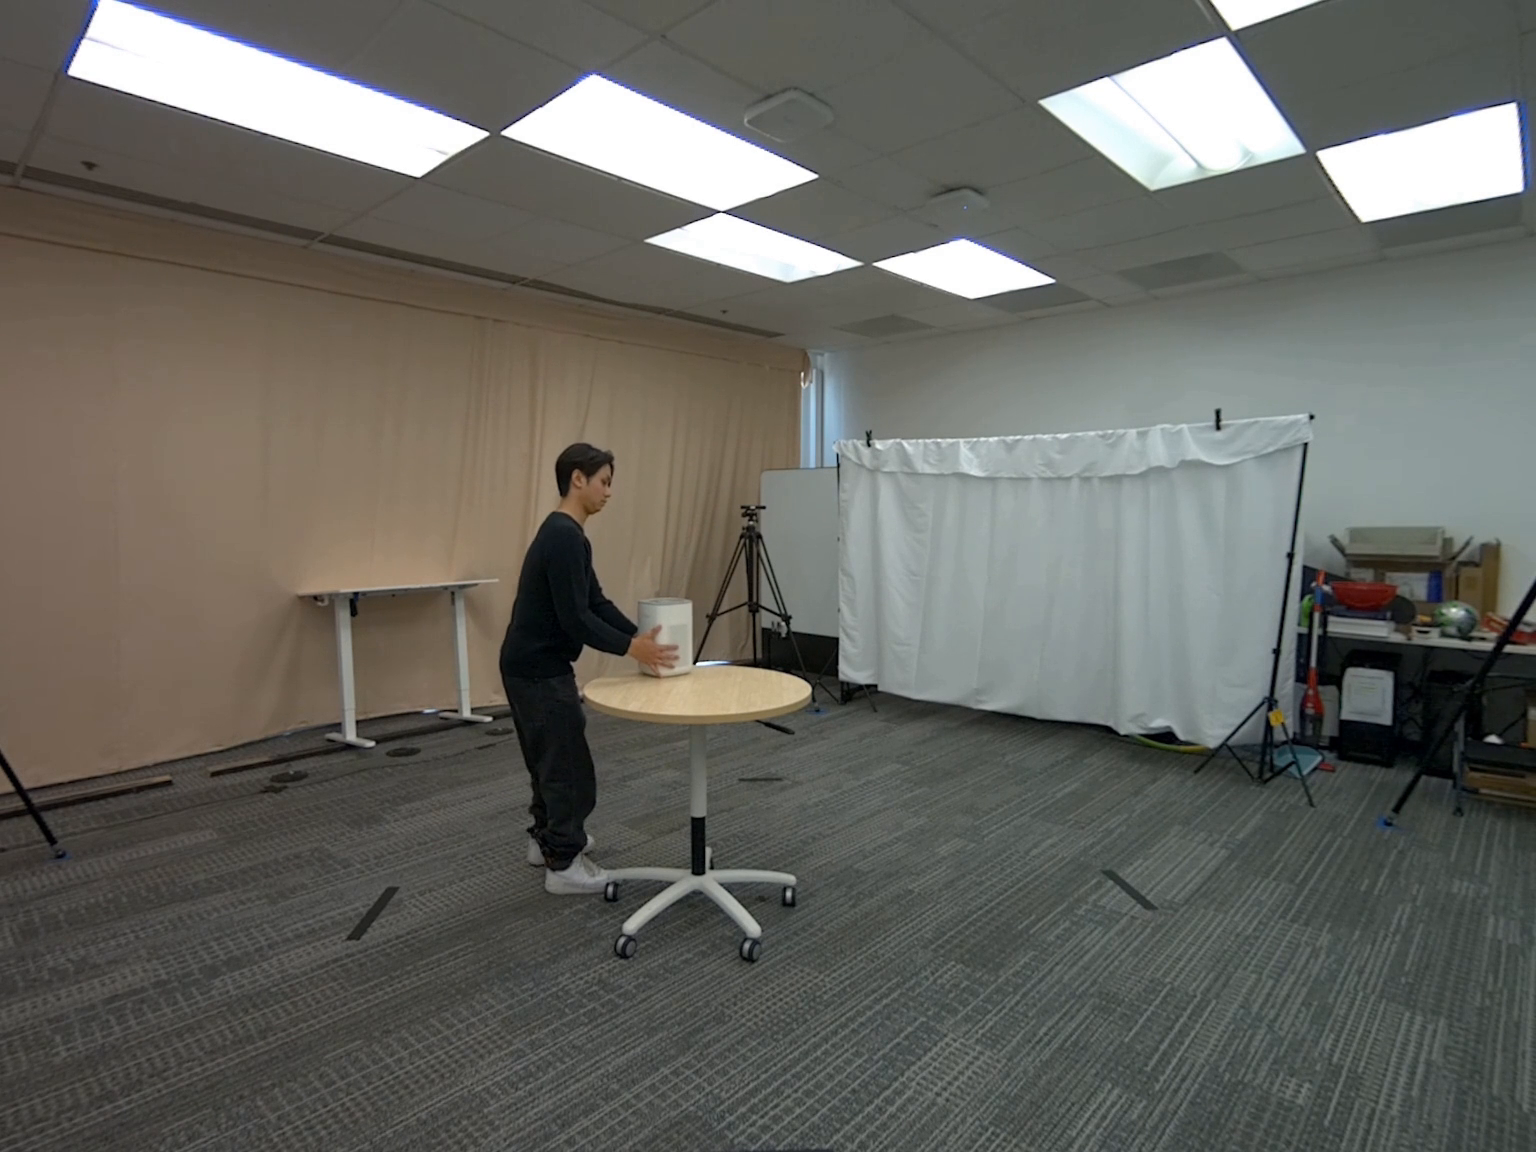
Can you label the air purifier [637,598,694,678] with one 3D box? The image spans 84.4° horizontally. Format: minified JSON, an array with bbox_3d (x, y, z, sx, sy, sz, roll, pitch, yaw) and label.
[{"bbox_3d":[-0.371,0.220,3.051,0.166,0.265,0.177,-3,4,-43],"label":"air purifier"}]
